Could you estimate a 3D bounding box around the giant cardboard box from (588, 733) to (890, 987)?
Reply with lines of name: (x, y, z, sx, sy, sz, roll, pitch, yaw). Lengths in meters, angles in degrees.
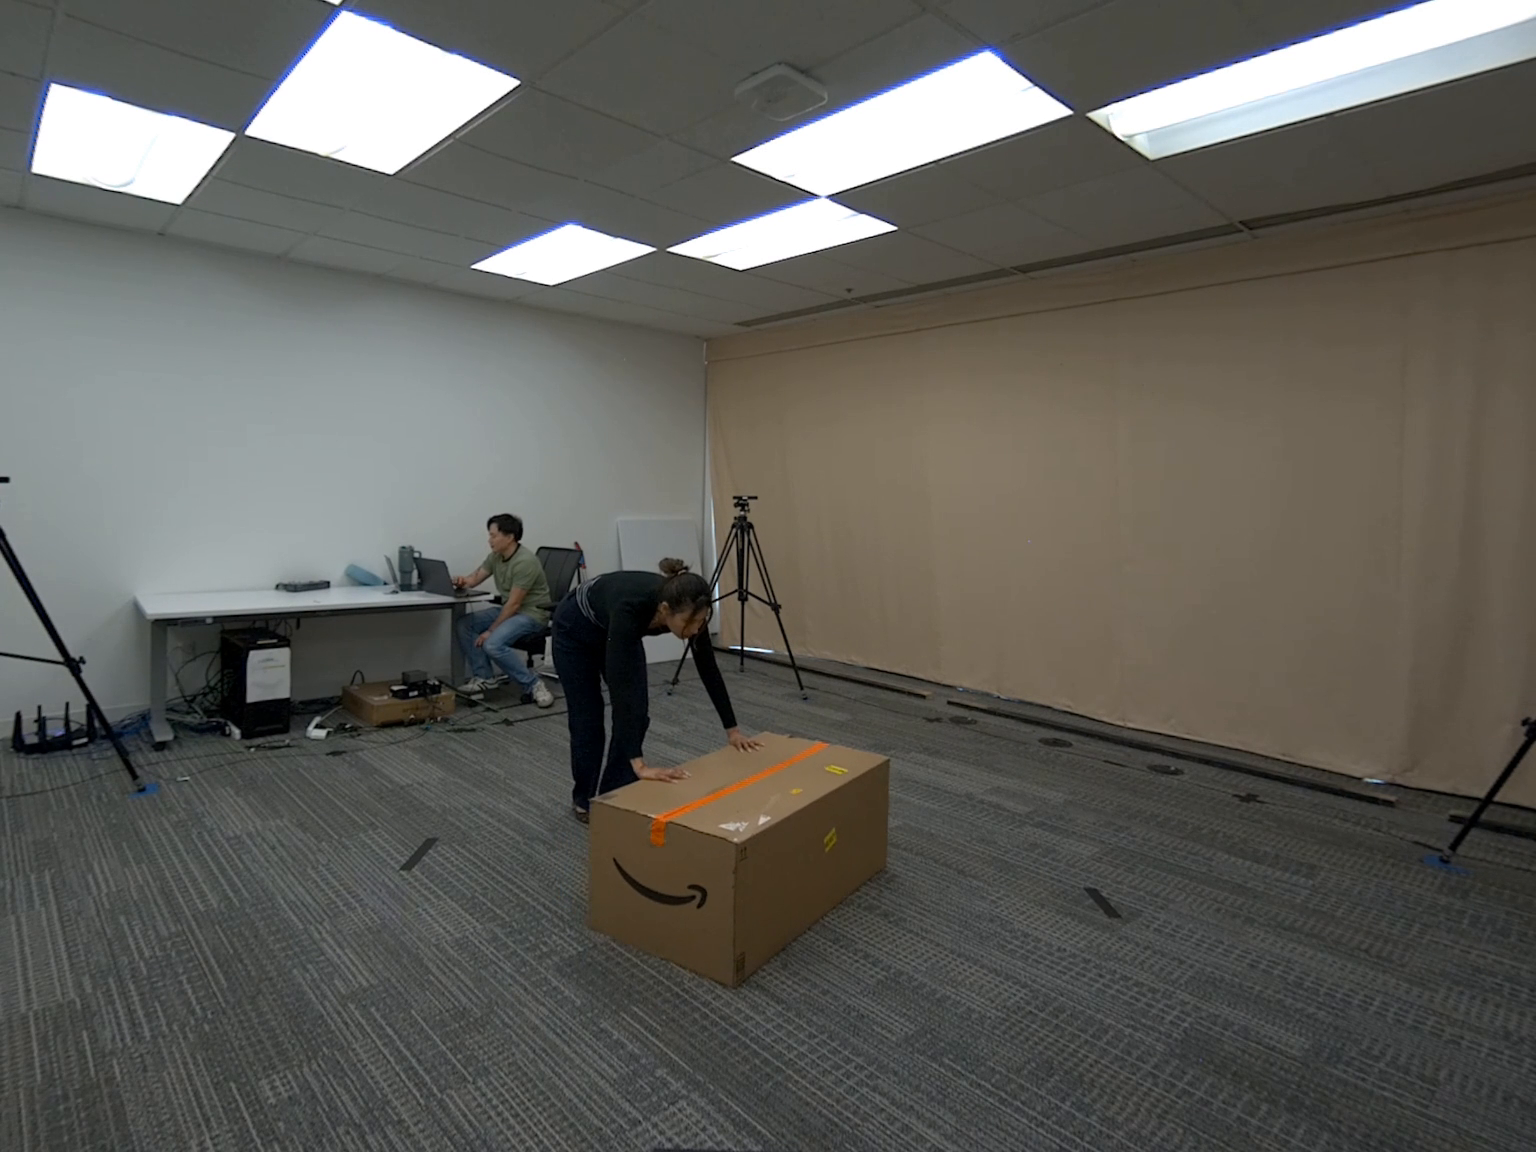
giant cardboard box: (-0.059, 0.907, 2.937, 0.591, 0.425, 1.005, 3, 5, 33)
